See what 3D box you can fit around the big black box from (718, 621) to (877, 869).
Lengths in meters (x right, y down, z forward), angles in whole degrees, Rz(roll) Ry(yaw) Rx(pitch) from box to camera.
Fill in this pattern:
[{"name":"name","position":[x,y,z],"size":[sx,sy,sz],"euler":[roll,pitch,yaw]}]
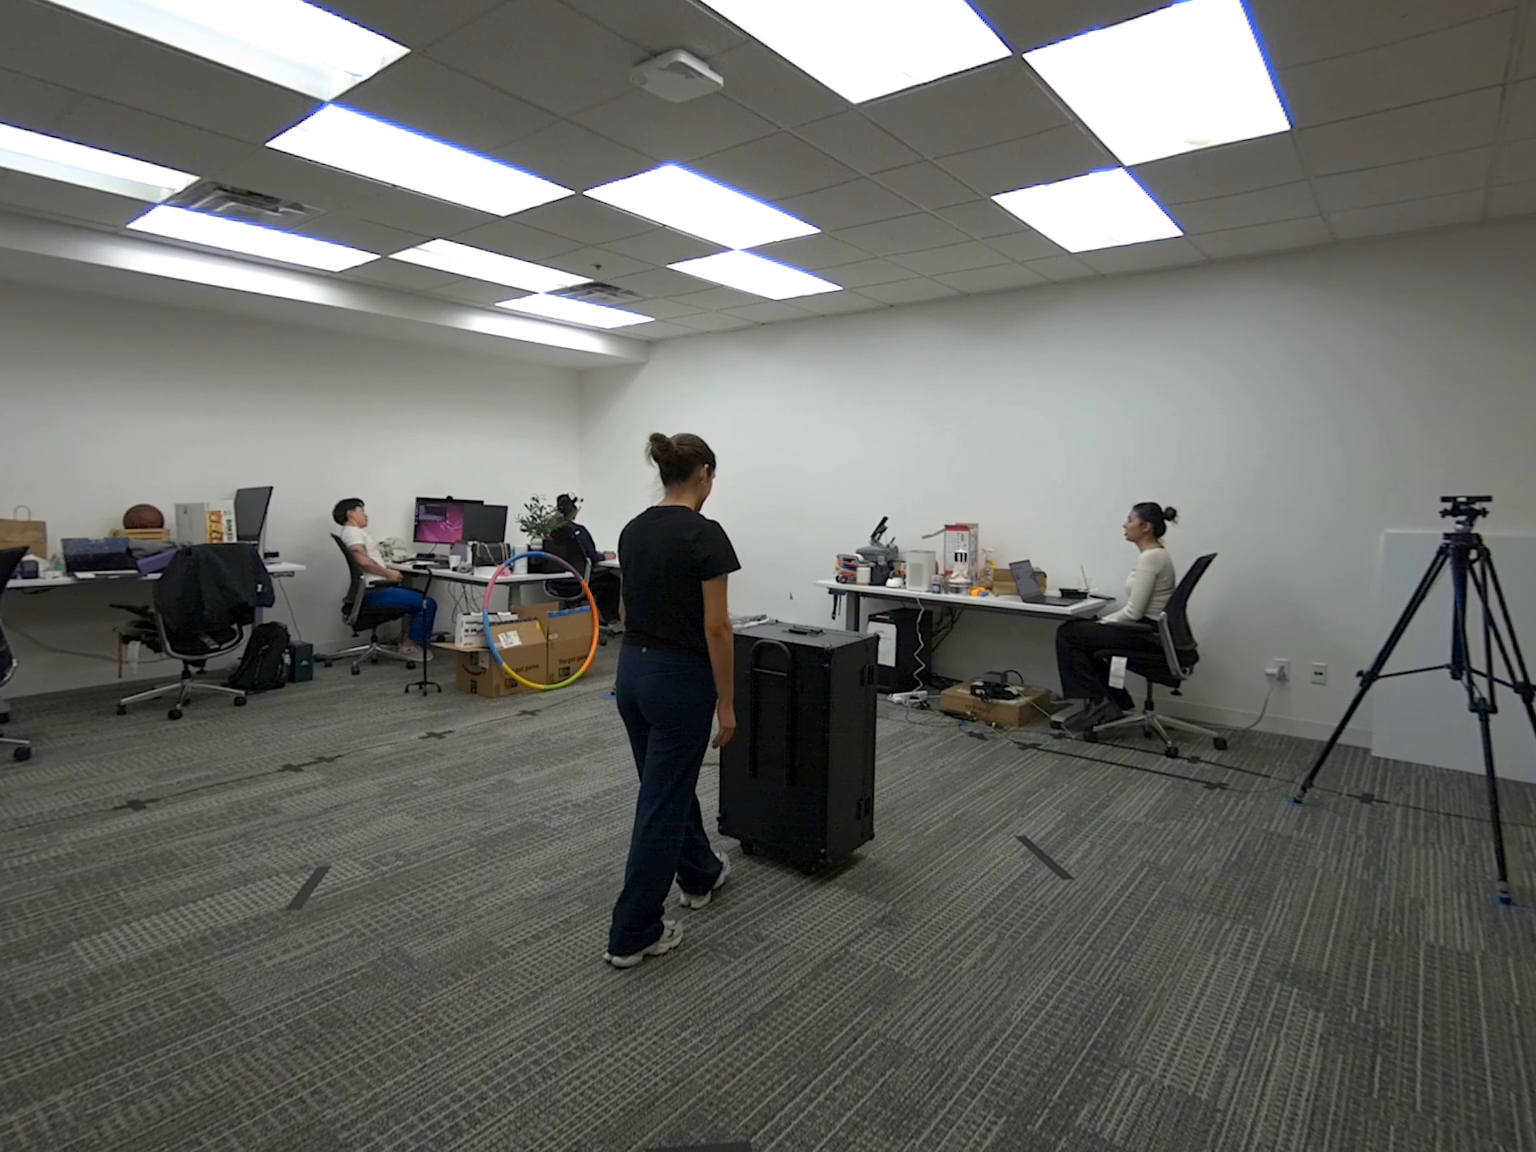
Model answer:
[{"name":"big black box","position":[0.130,0.638,3.226],"size":[0.538,0.858,0.385],"euler":[4,5,37]}]
